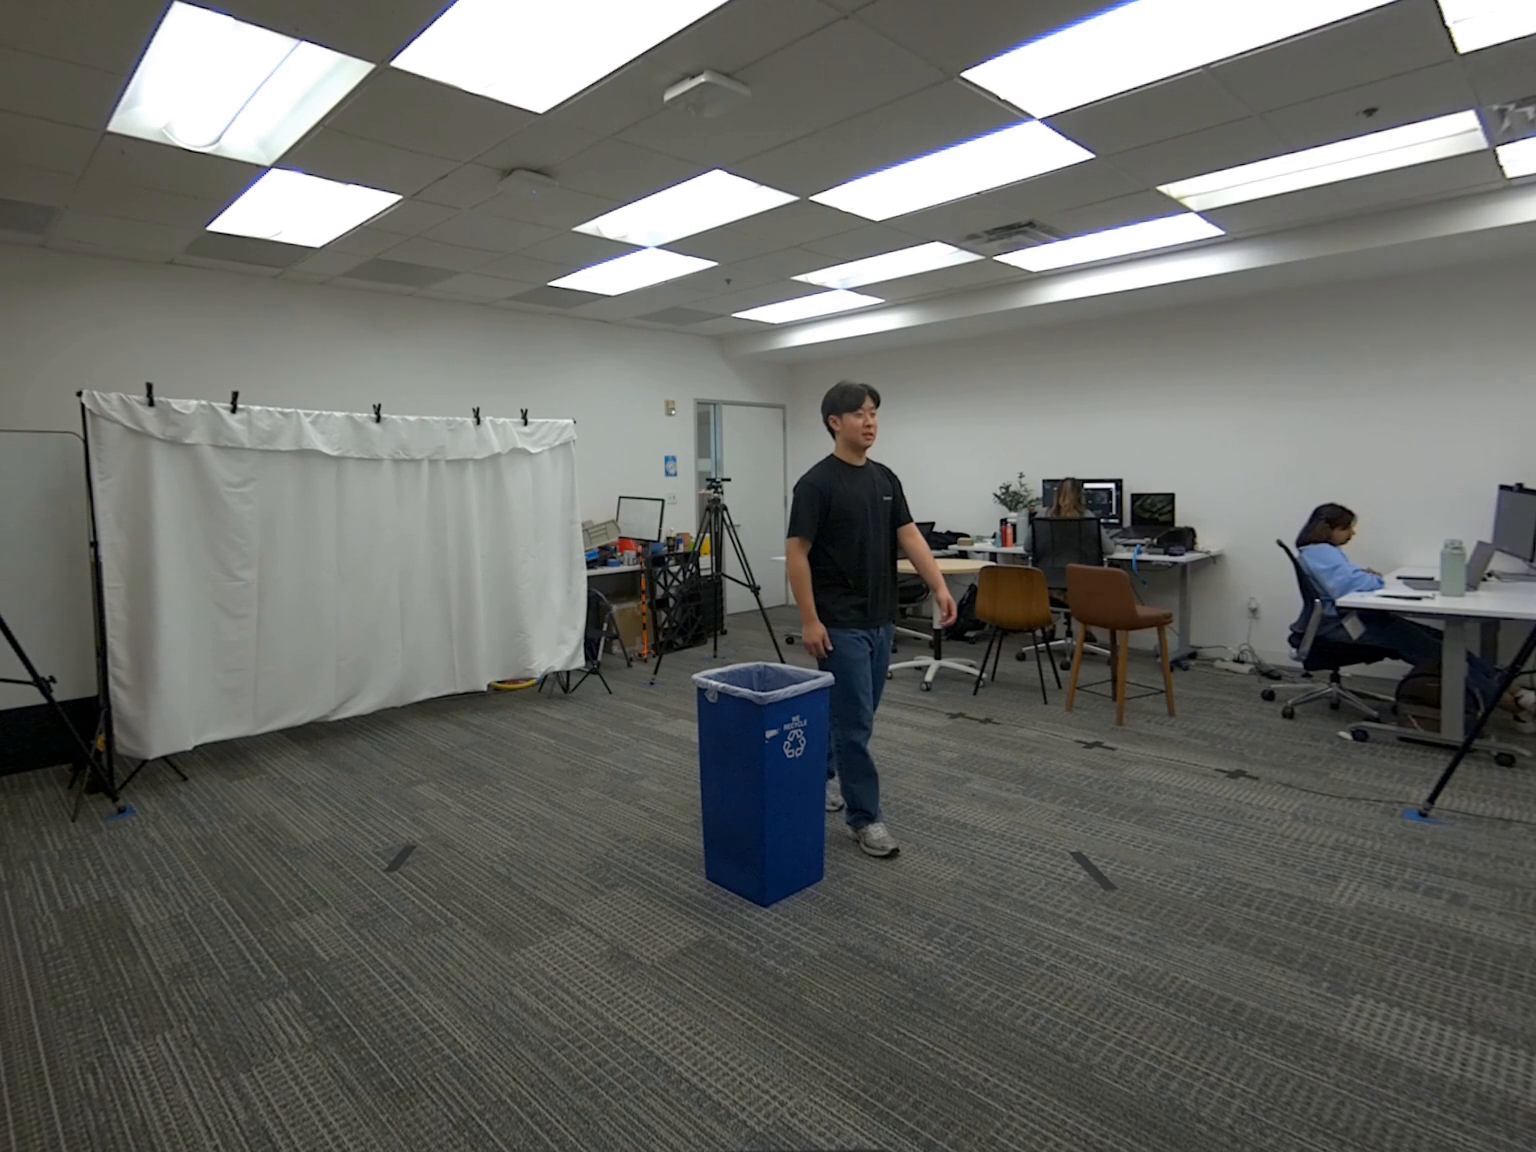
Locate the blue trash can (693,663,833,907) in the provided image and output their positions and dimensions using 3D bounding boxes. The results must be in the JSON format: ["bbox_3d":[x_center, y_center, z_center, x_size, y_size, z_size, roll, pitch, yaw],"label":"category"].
[{"bbox_3d":[-0.012,0.698,2.968,0.364,0.711,0.390,-5,6,-44],"label":"blue trash can"}]
